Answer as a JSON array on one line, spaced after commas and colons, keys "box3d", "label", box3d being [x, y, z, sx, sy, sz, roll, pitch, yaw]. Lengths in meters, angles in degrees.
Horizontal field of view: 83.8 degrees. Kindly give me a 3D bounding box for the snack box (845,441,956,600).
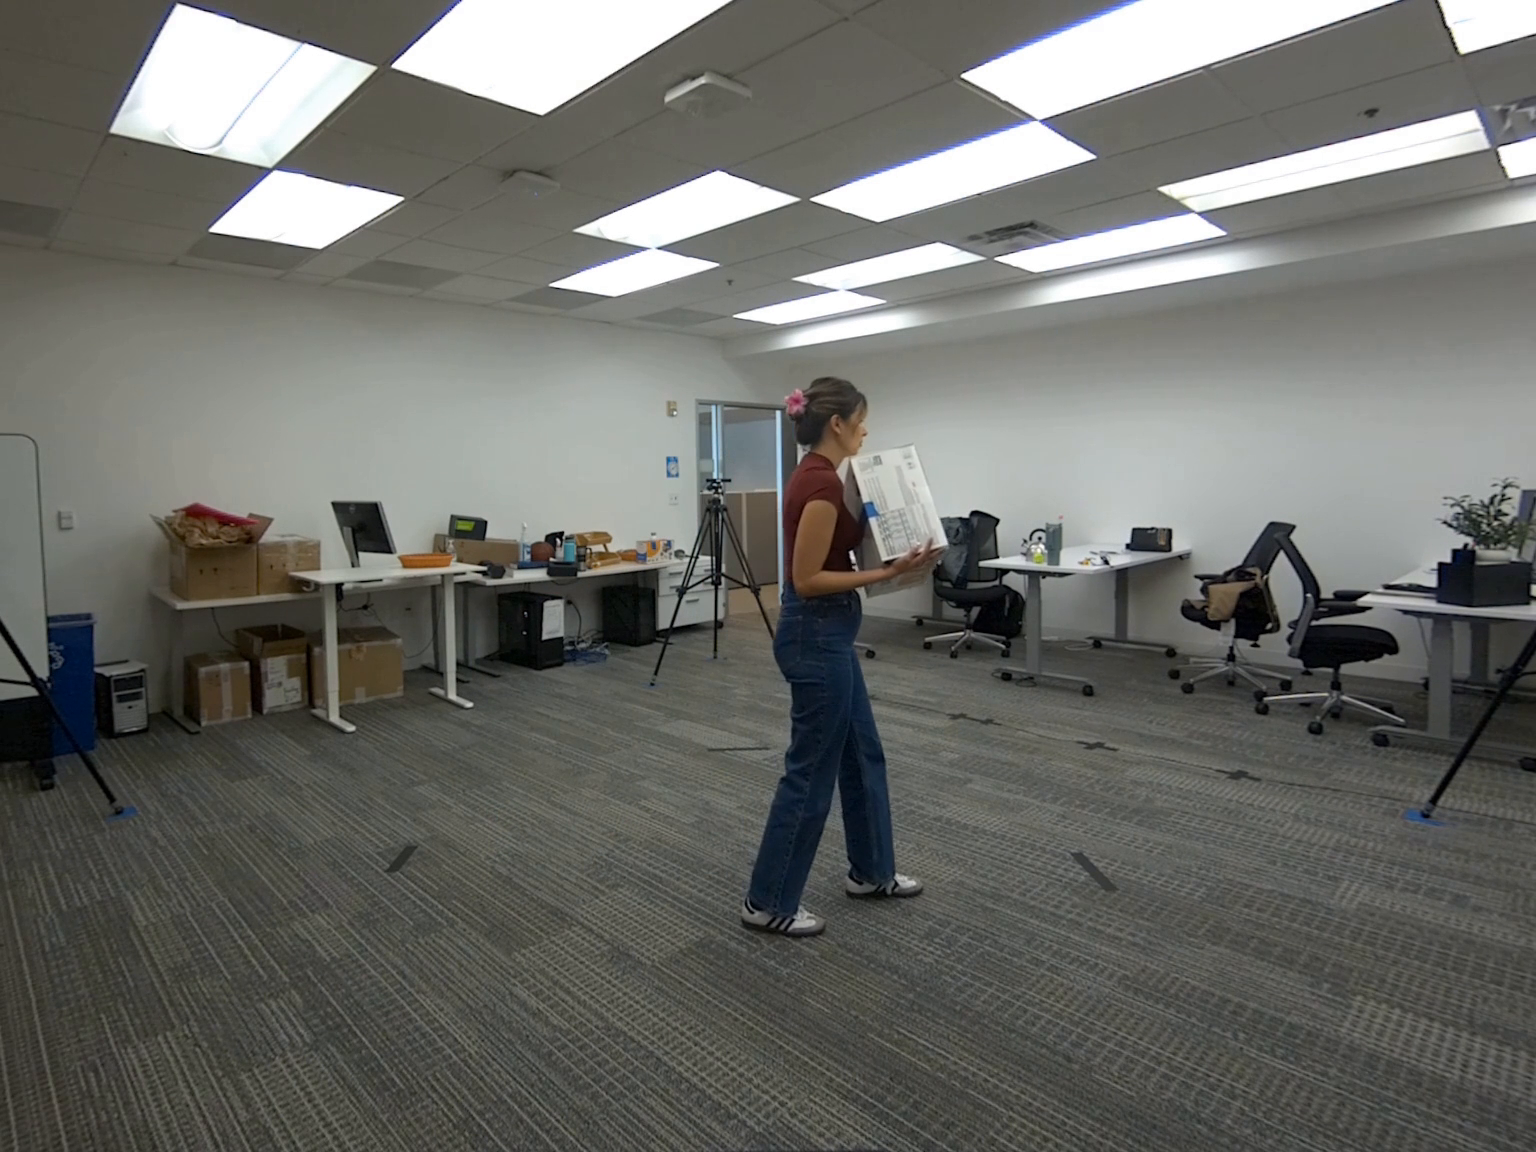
[{"box3d": [0.394, -0.165, 2.700, 0.205, 0.347, 0.398, -13, -18, -4], "label": "snack box"}]
